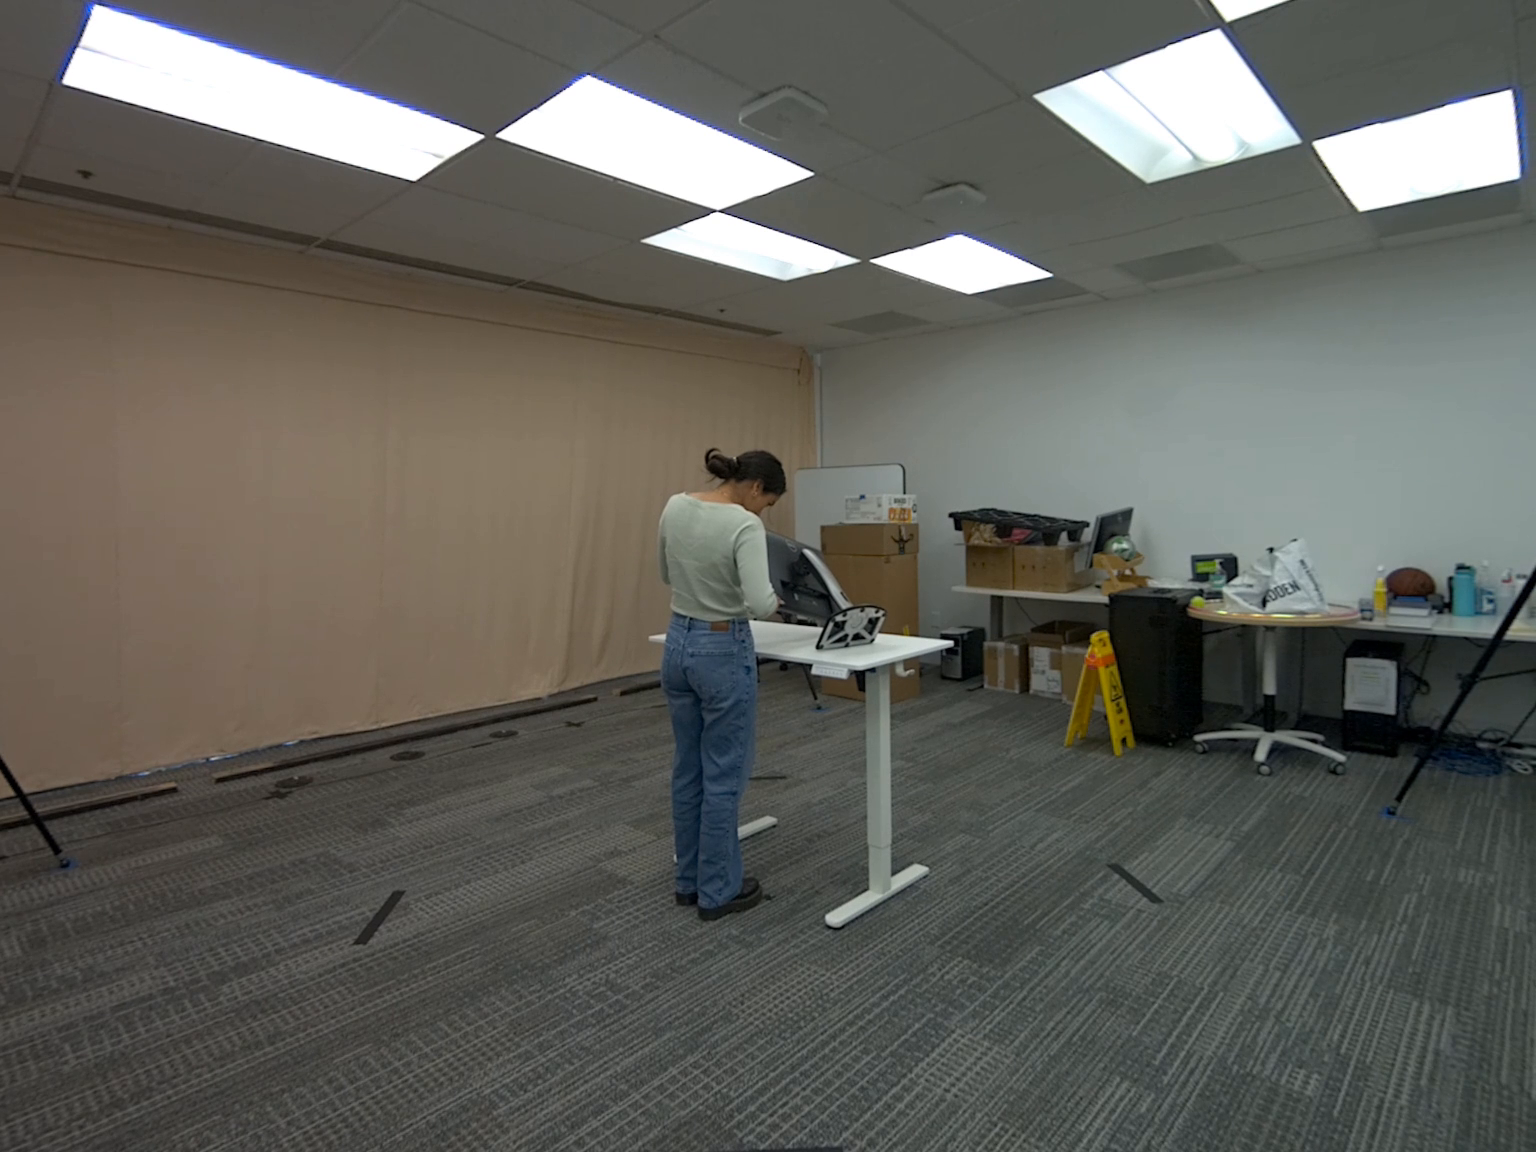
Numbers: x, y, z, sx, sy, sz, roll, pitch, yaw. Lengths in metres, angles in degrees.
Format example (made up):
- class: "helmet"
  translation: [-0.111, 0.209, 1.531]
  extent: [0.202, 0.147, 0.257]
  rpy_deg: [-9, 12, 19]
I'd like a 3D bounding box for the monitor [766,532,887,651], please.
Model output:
- class: "monitor"
  translation: [0.175, 0.038, 3.100]
  extent: [0.520, 0.188, 0.540]
  rpy_deg: [18, 29, -47]
